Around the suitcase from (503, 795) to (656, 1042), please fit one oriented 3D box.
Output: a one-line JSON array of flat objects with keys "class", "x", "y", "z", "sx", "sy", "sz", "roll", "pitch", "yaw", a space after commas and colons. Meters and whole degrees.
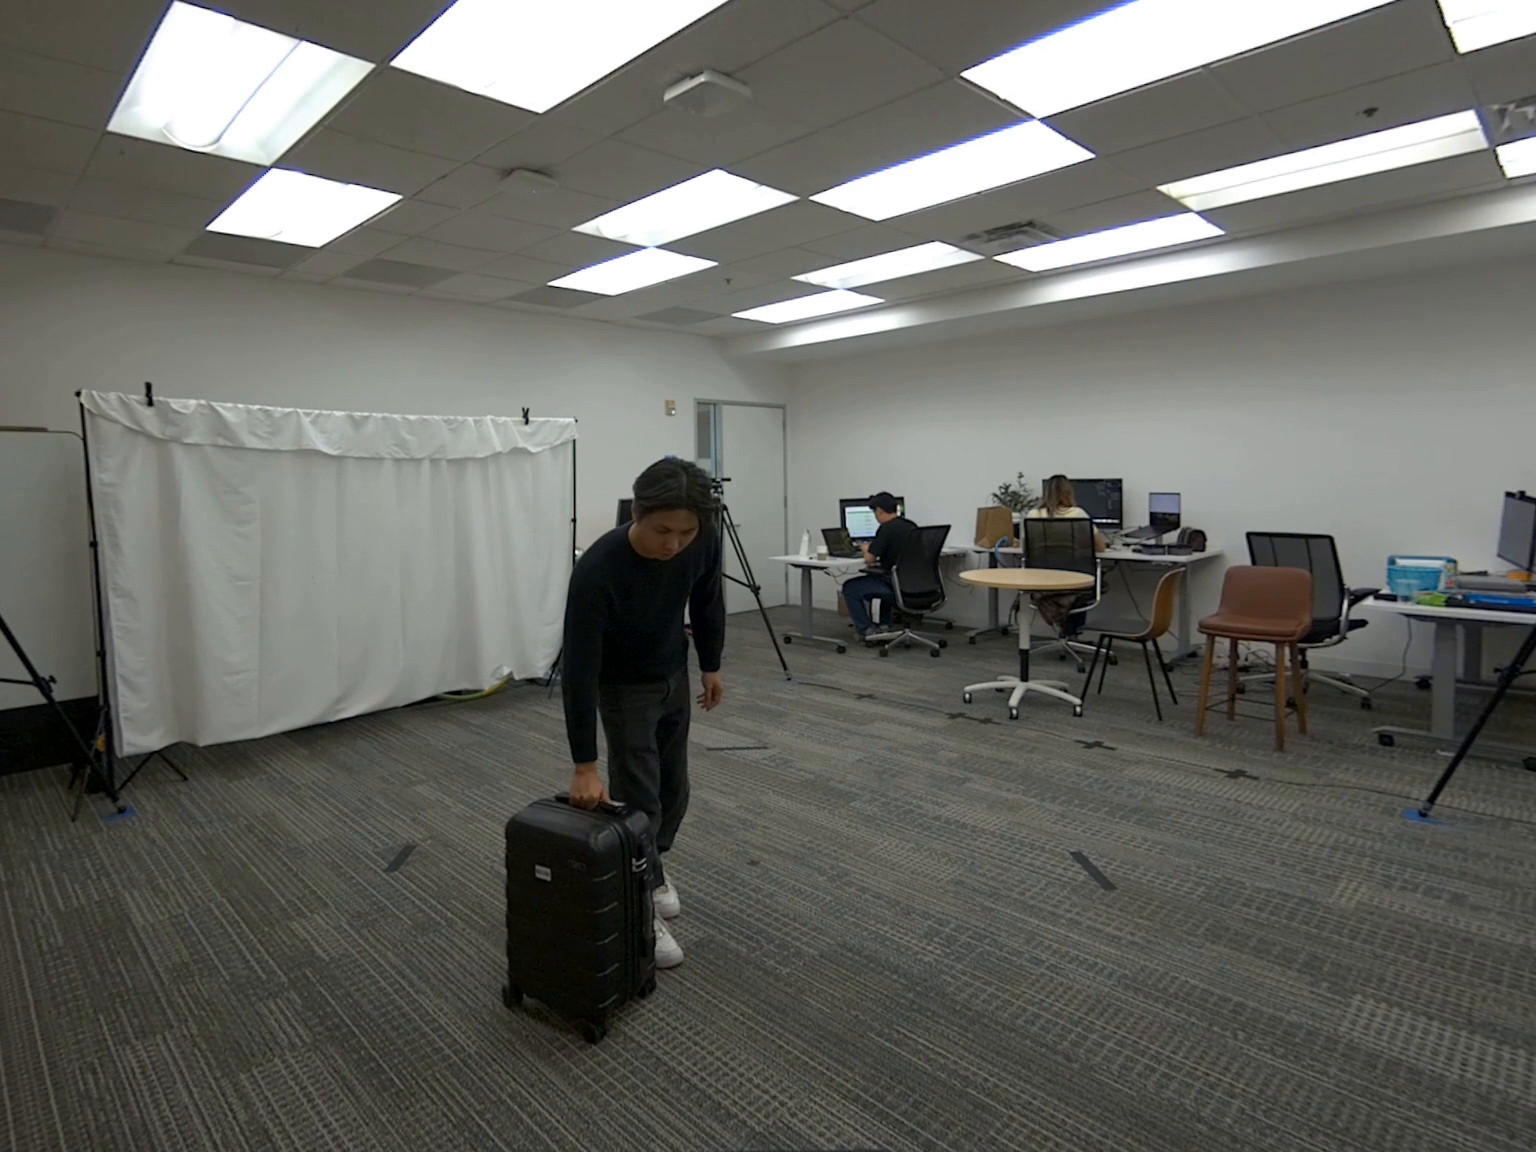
[{"class": "suitcase", "x": -0.501, "y": 0.877, "z": 2.274, "sx": 0.385, "sy": 0.546, "sz": 0.243, "roll": 3, "pitch": 7, "yaw": 30}]
